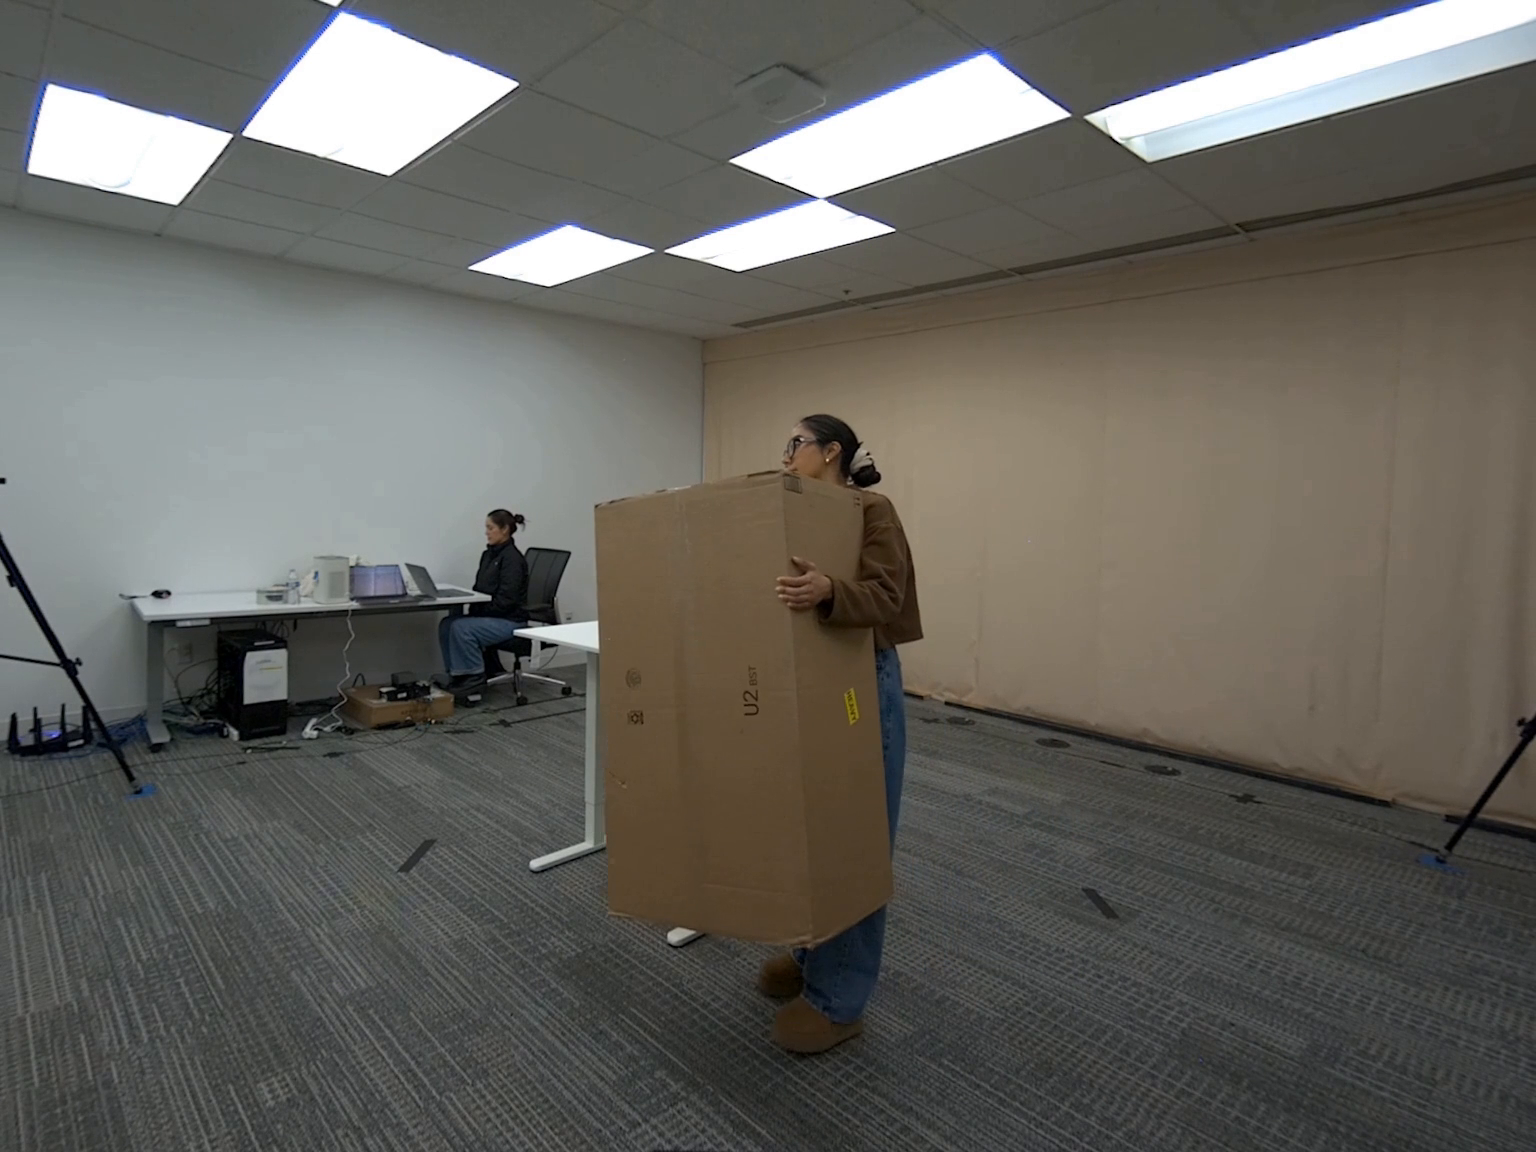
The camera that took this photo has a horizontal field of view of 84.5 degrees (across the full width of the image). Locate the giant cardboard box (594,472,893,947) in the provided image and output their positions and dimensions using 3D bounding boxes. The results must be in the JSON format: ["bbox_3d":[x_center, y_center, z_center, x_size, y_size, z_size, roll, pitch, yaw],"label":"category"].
[{"bbox_3d":[-0.083,0.312,2.132,0.588,1.032,0.415,-8,-9,33],"label":"giant cardboard box"}]
